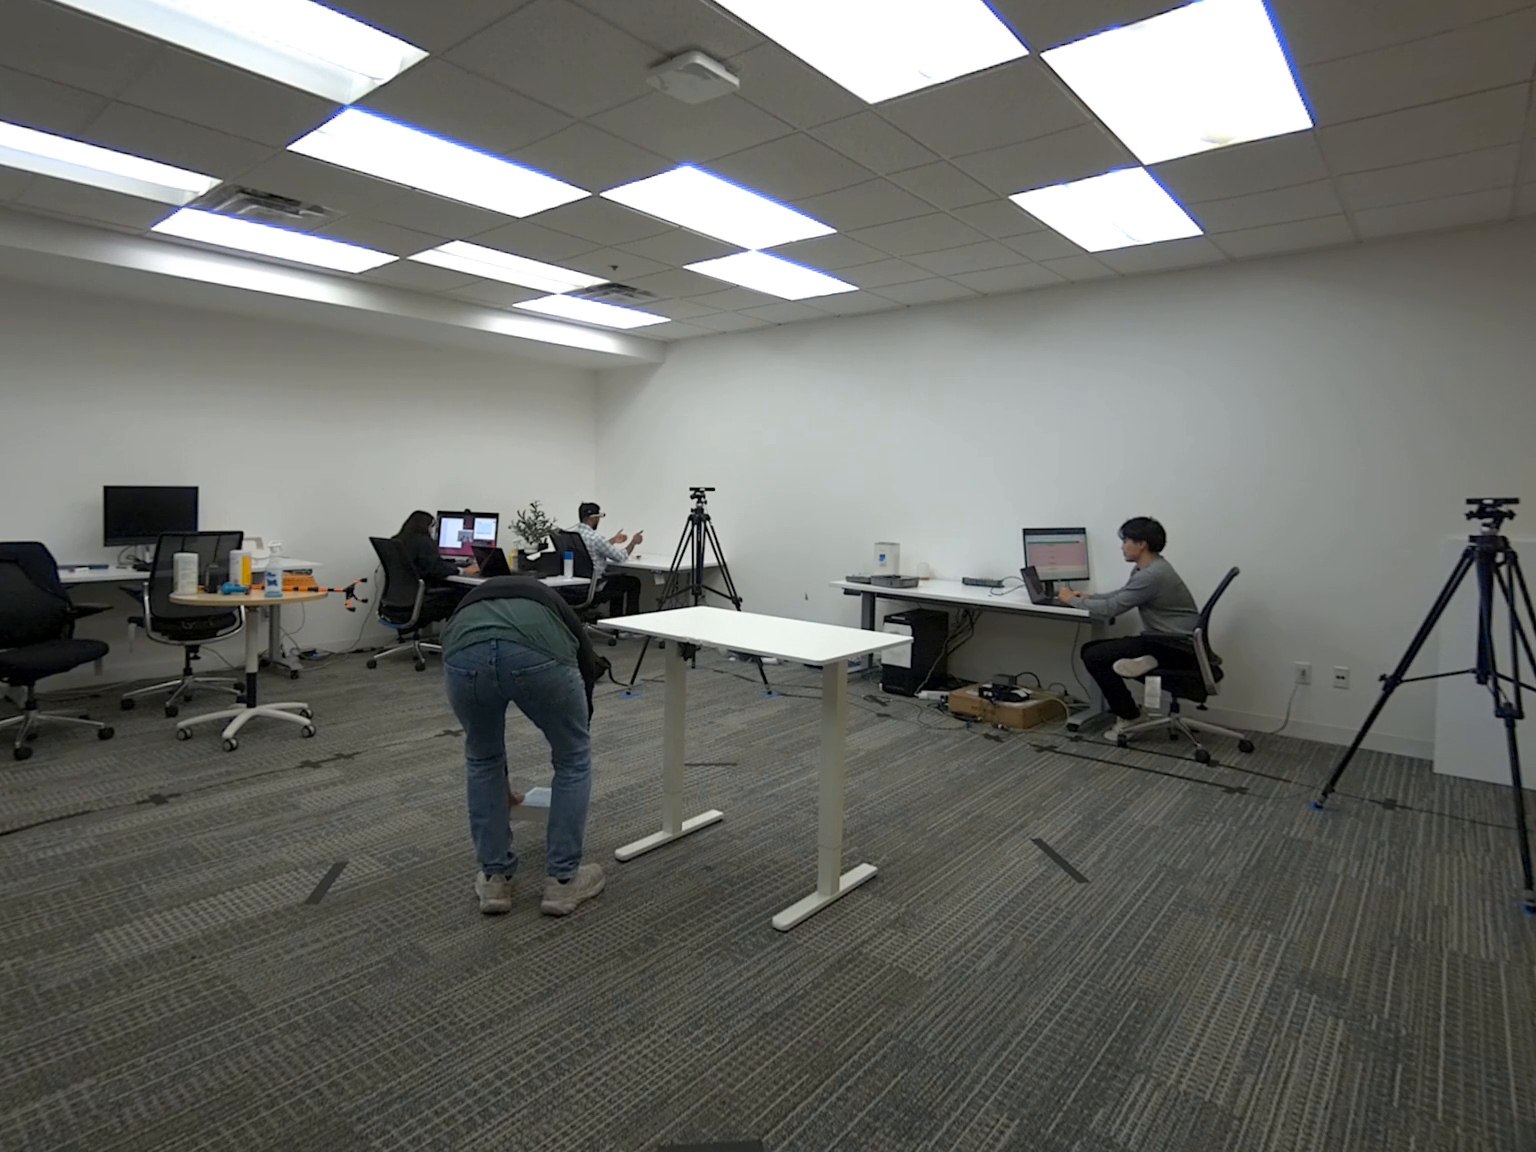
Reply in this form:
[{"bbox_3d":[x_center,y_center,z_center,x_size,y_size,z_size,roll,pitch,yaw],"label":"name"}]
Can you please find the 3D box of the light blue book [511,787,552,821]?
[{"bbox_3d":[-0.868,0.849,3.248,0.193,0.059,0.258,-3,0,8],"label":"light blue book"}]
